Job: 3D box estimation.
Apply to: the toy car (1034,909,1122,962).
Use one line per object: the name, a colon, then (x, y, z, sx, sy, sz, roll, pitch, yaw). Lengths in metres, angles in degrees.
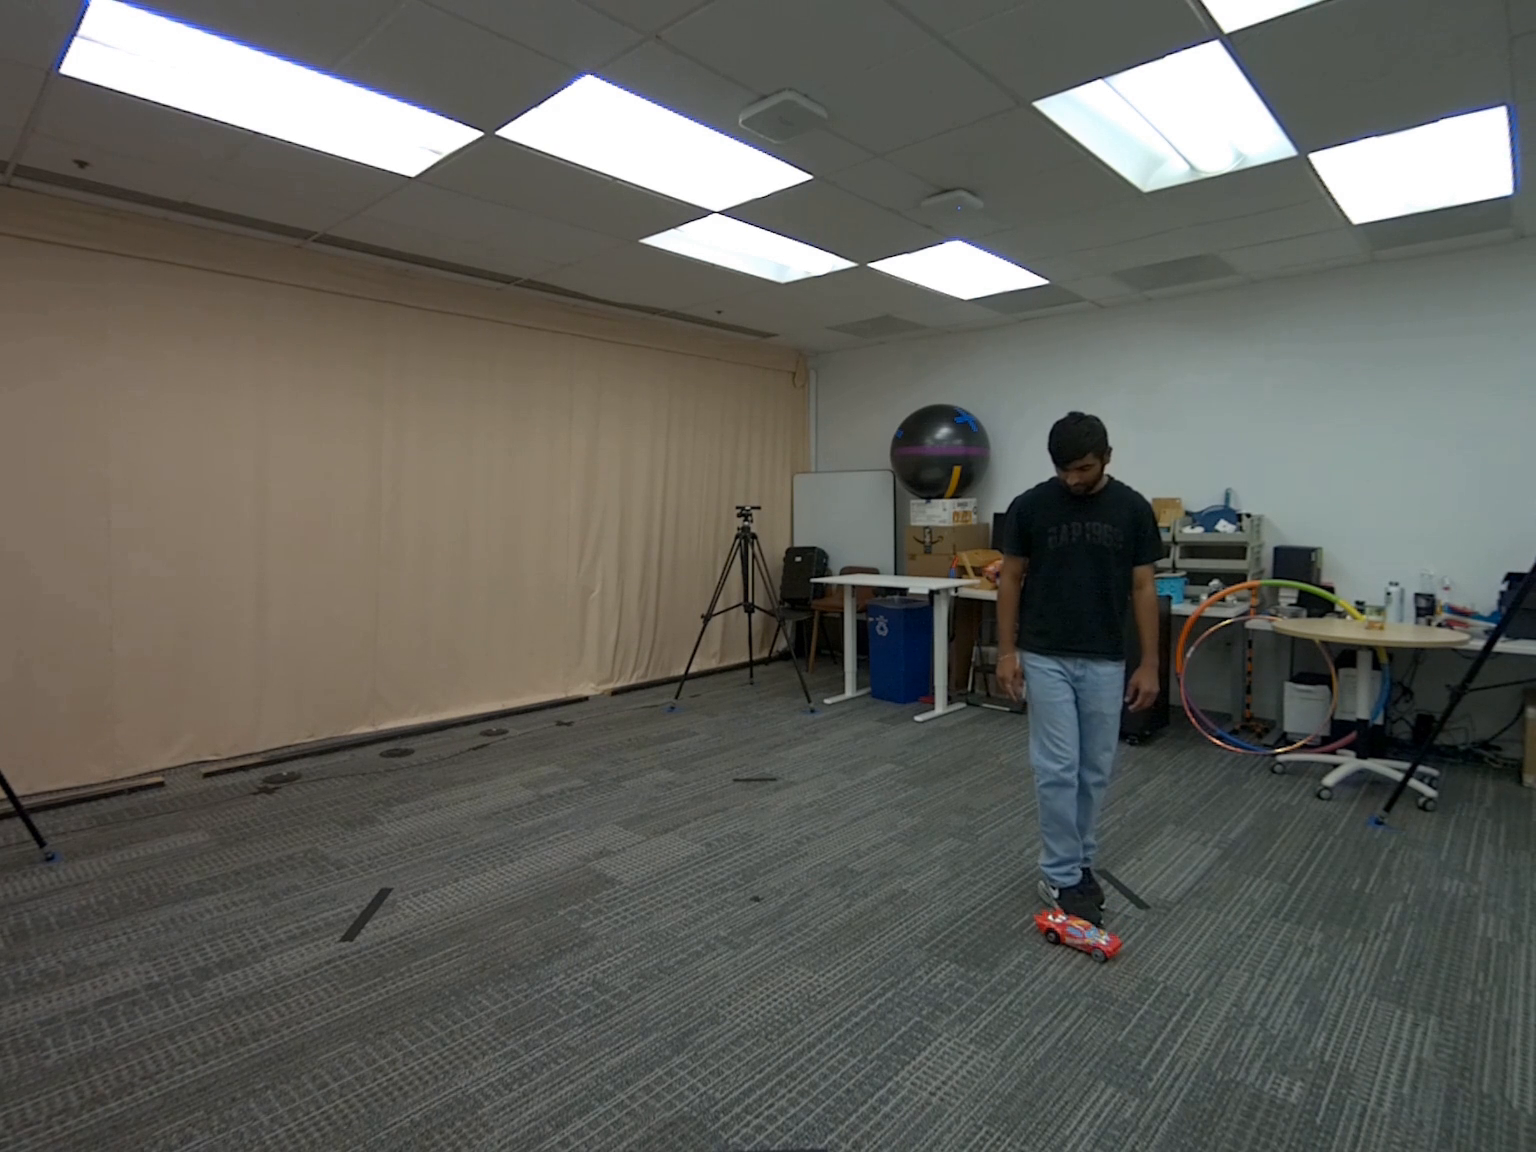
toy car: (0.986, 1.142, 2.662, 0.126, 0.083, 0.264, -4, 17, -42)
